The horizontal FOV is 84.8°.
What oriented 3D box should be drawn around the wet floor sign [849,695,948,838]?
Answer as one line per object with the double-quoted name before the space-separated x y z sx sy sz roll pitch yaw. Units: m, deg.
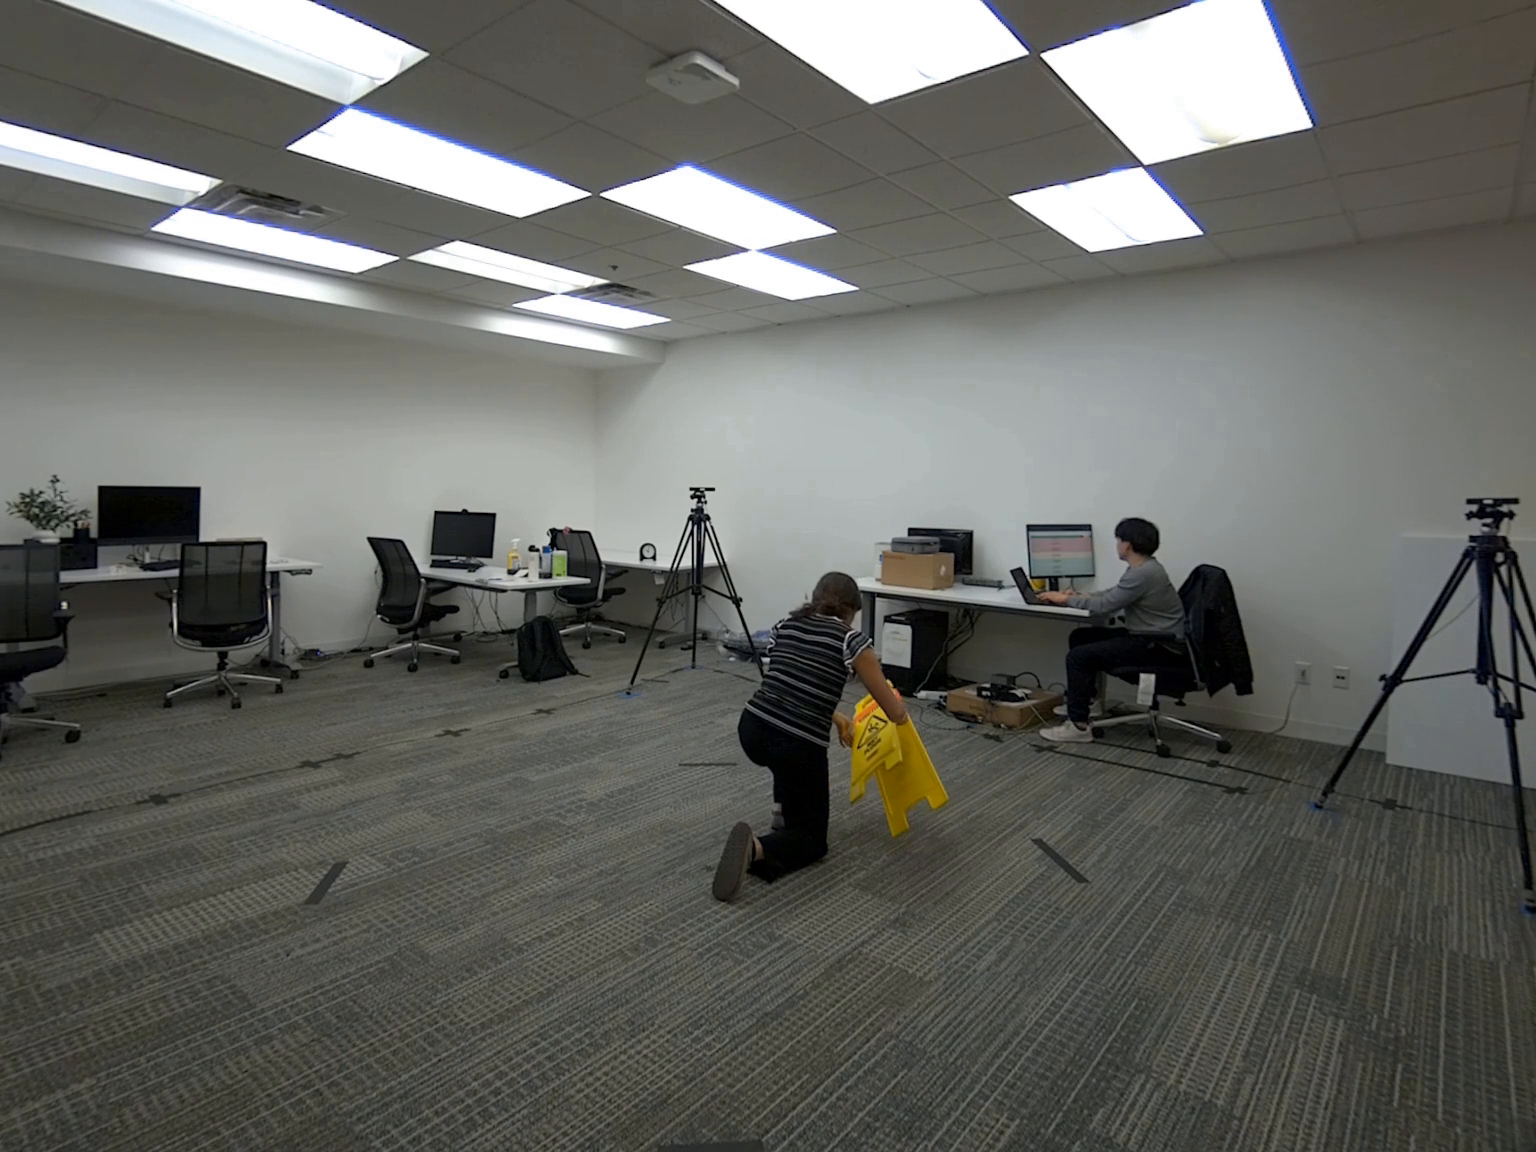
"wet floor sign" 0.475 0.687 3.502 0.282 0.283 0.662 39 22 -21
